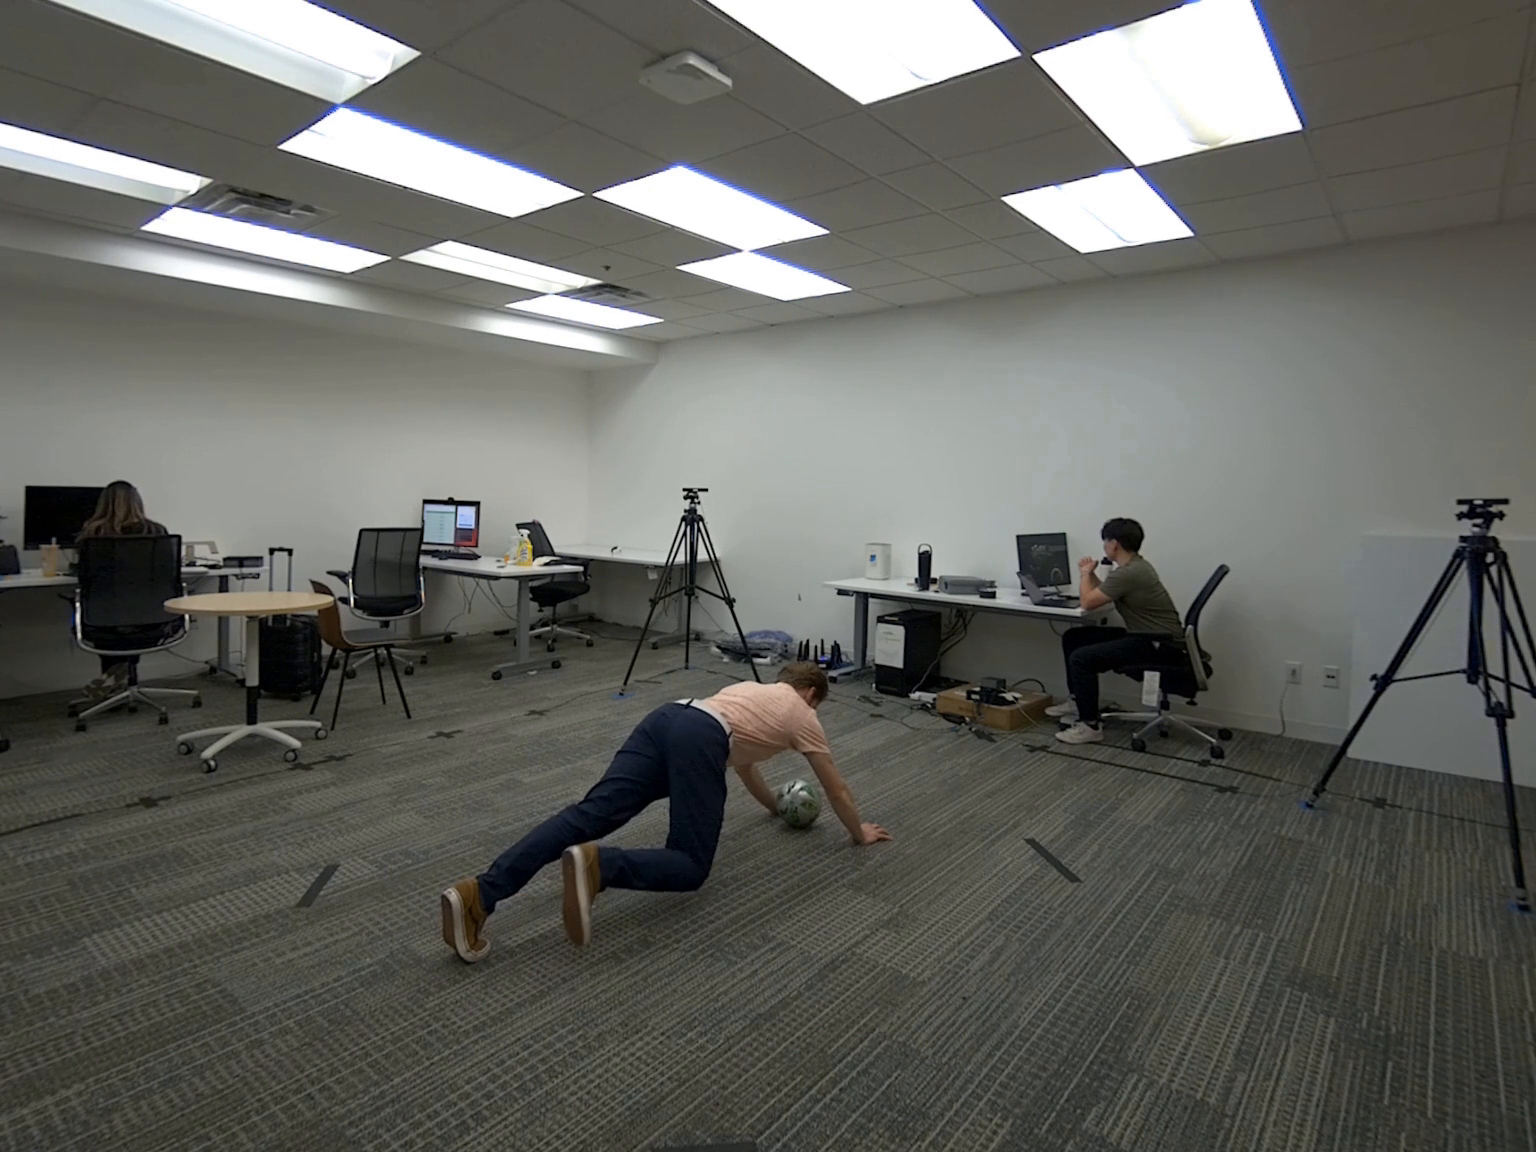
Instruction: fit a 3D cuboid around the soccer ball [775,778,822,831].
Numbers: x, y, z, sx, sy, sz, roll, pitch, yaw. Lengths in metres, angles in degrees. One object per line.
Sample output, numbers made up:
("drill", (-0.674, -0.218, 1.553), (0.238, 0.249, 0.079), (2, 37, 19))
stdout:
("soccer ball", (0.123, 0.942, 3.528), (0.187, 0.187, 0.188), (1, 4, -2))
